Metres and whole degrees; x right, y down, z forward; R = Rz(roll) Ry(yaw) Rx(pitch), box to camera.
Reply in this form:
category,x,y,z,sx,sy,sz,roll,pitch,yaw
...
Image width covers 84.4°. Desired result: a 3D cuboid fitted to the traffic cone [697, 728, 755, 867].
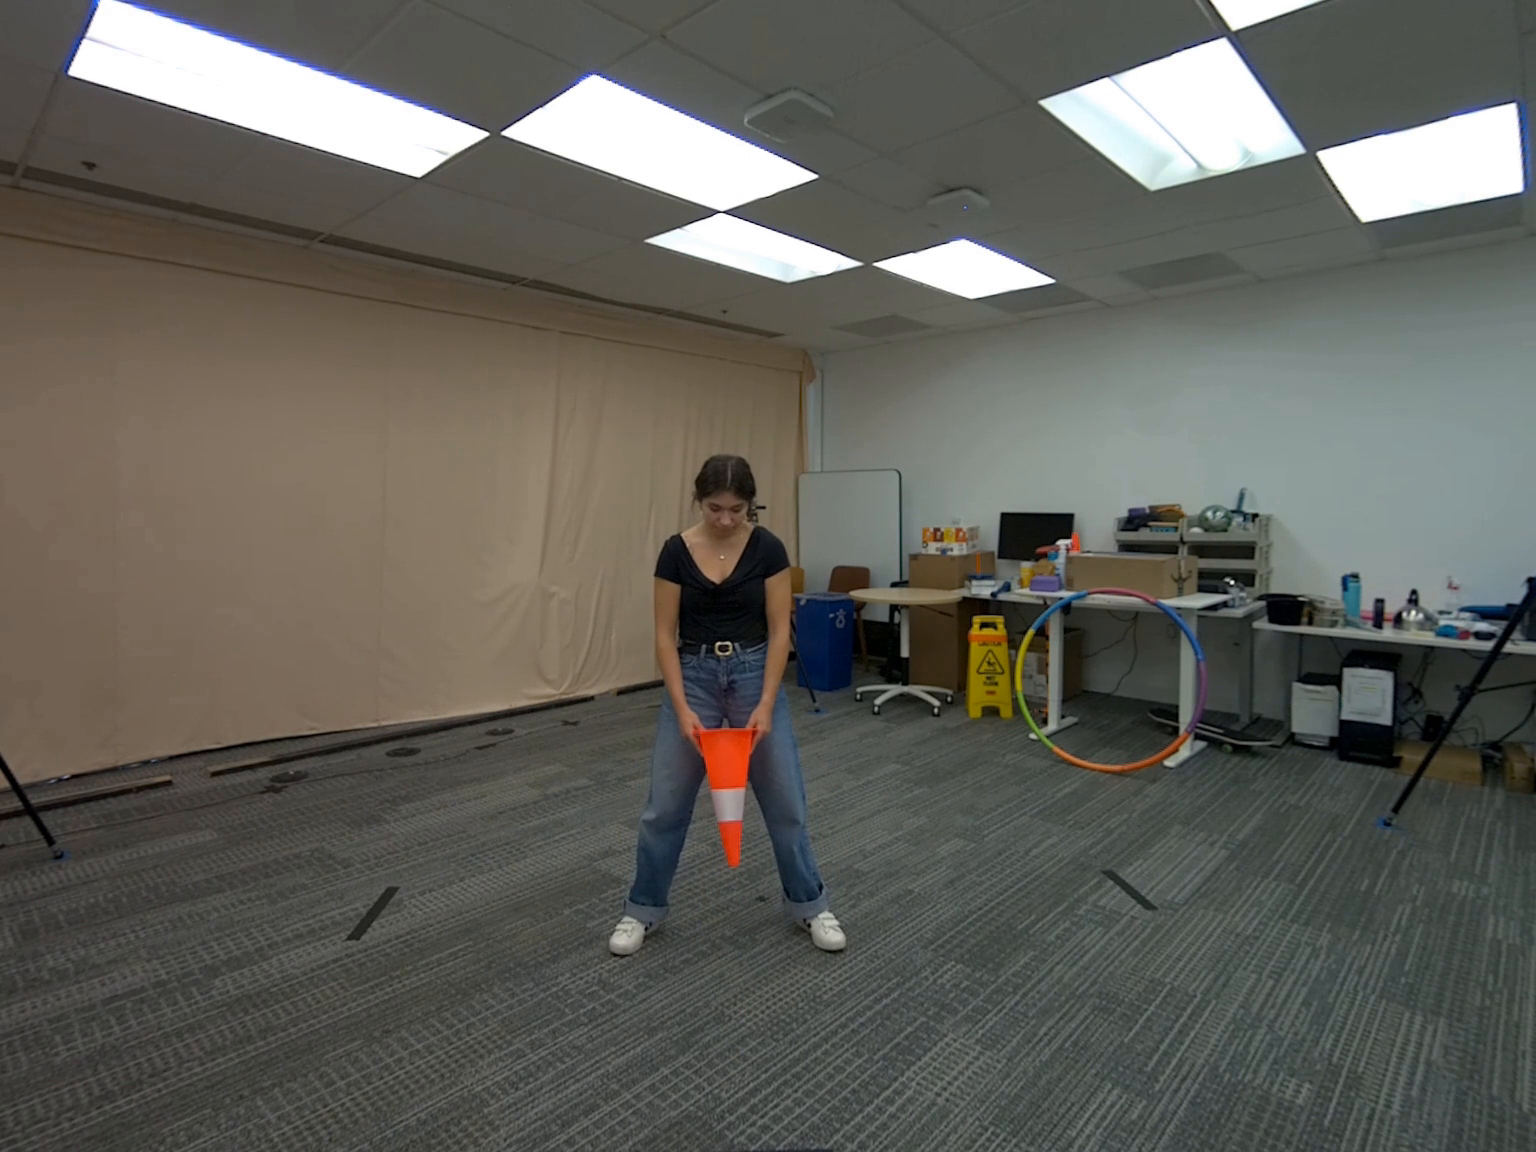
category,x,y,z,sx,sy,sz,roll,pitch,yaw
traffic cone,-0.112,0.654,2.465,0.205,0.388,0.200,-11,-17,10
